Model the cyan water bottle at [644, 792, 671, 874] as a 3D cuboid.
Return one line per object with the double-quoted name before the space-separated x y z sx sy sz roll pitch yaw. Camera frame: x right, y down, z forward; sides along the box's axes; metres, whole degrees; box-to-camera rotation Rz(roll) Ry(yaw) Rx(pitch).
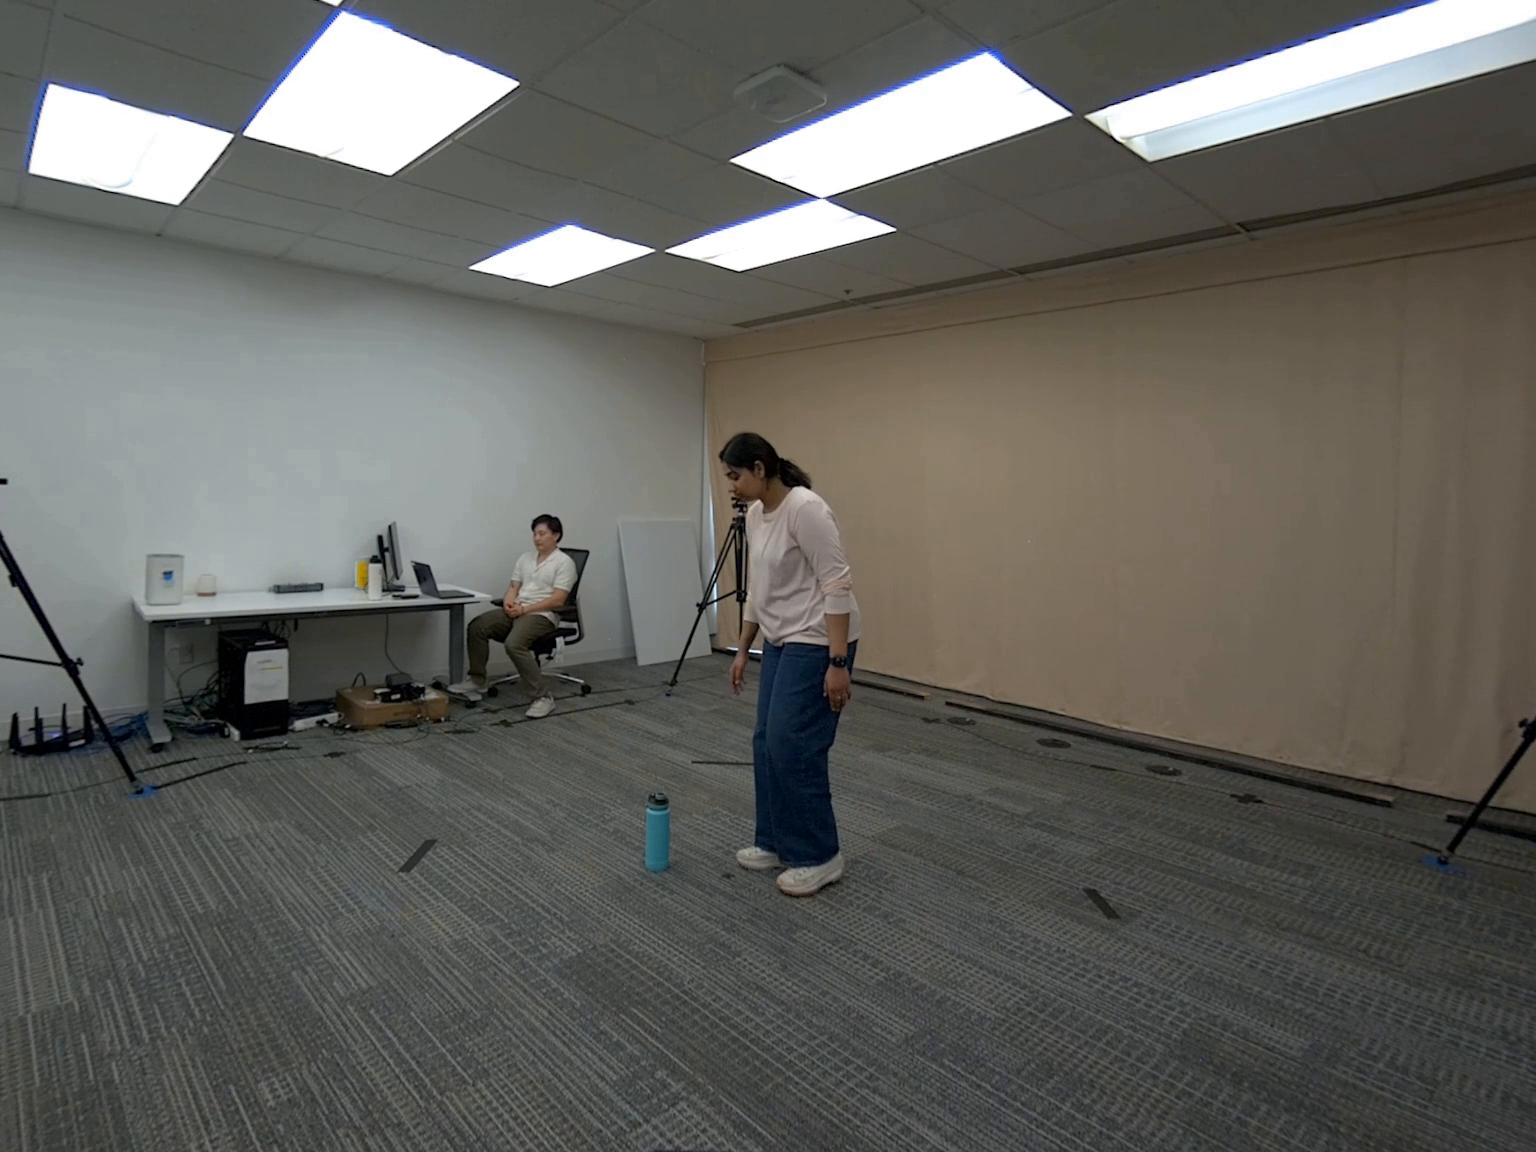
"cyan water bottle" -0.416 0.951 3.167 0.092 0.283 0.092 0 2 -1
